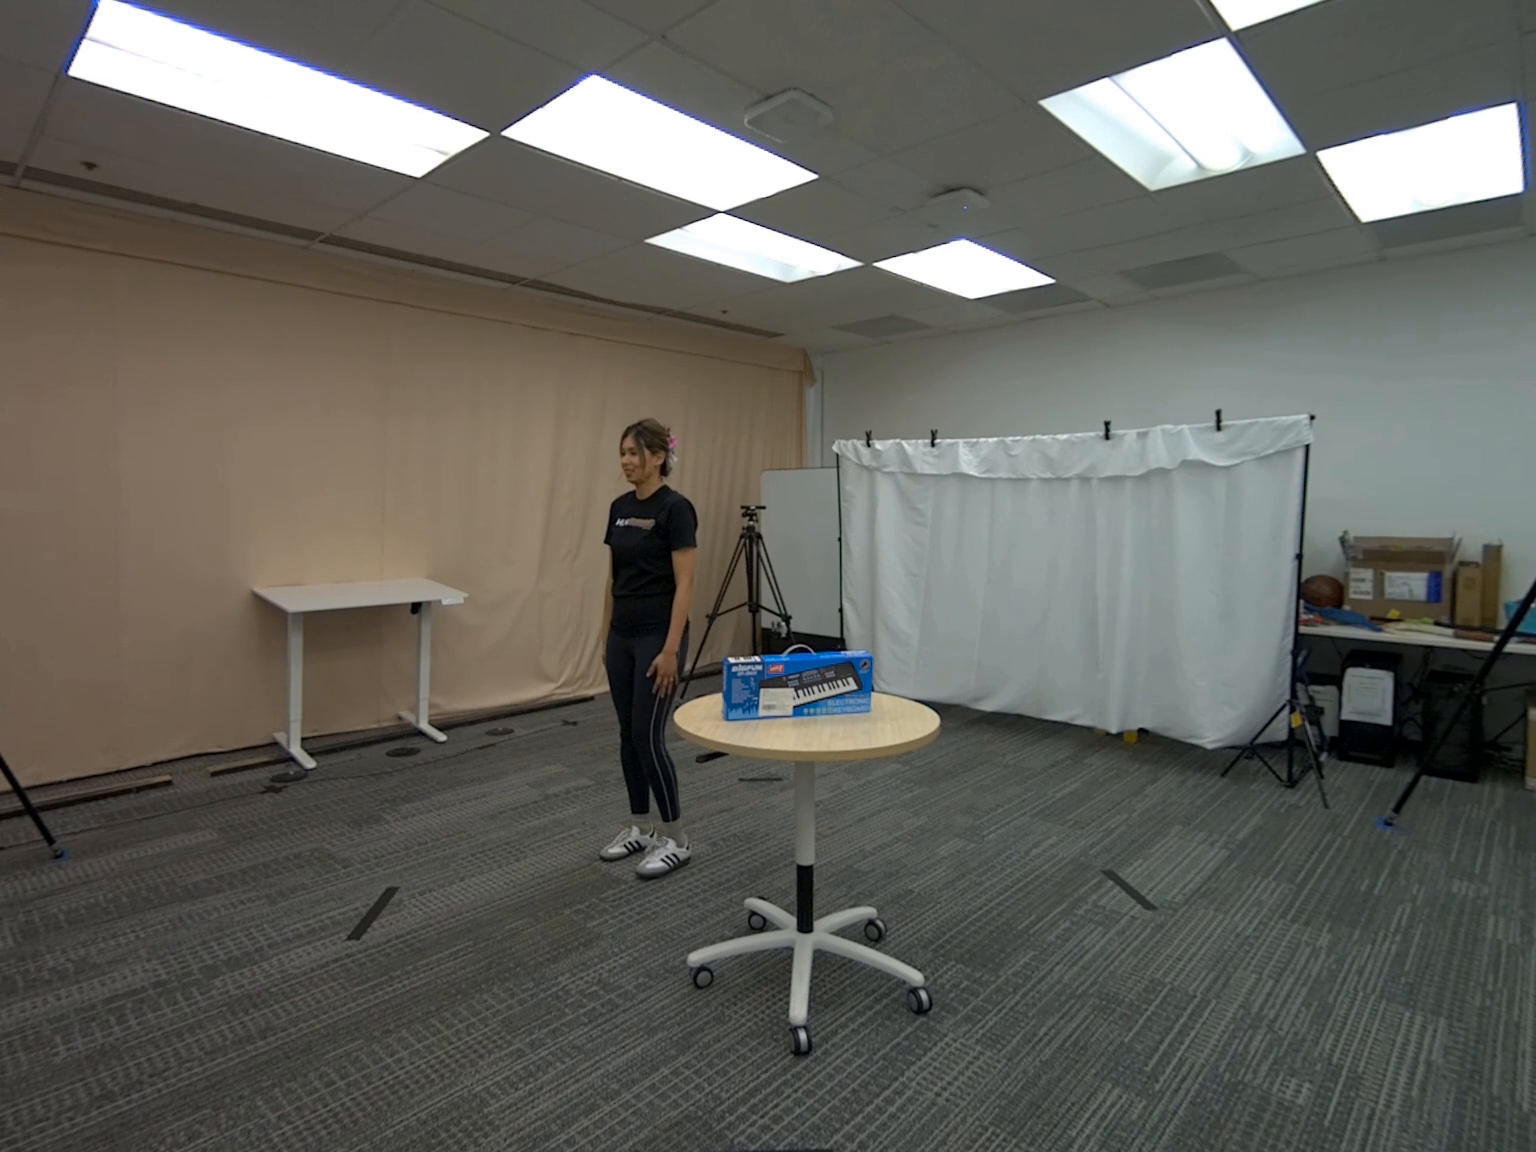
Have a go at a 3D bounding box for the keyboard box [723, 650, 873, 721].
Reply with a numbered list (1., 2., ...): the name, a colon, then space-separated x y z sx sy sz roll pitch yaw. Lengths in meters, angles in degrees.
1. keyboard box: 0.093 0.316 2.434 0.431 0.175 0.060 -1 8 -13
